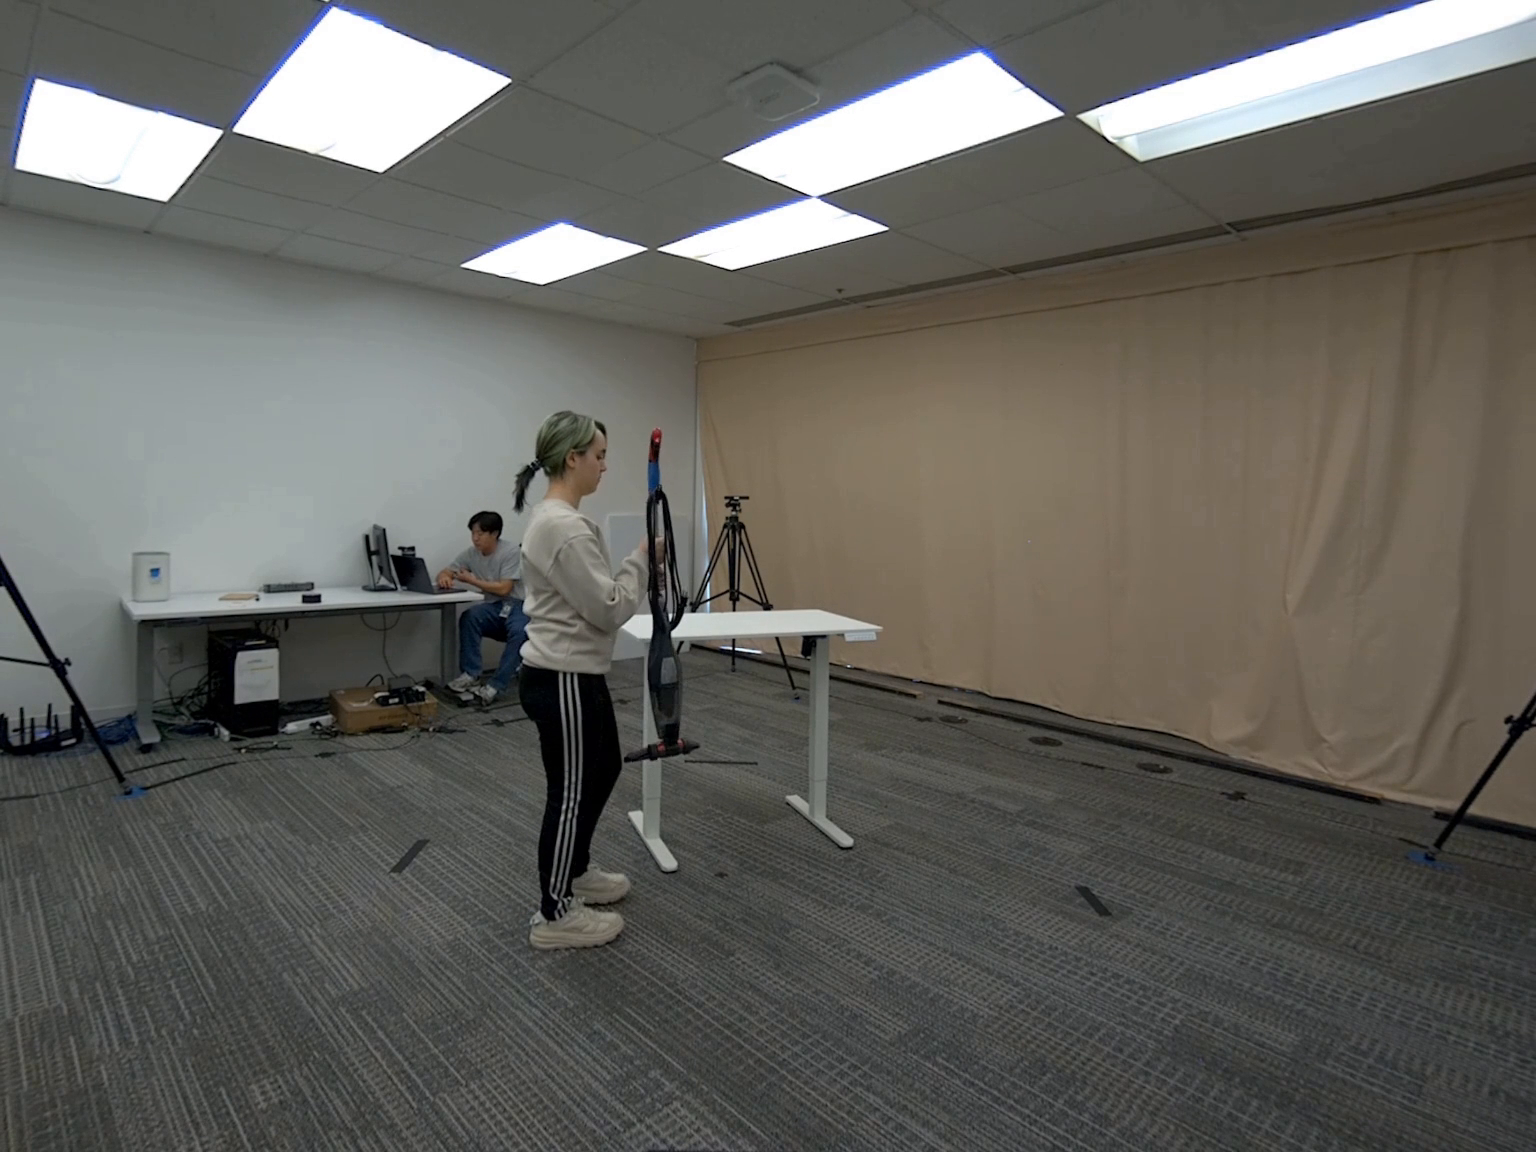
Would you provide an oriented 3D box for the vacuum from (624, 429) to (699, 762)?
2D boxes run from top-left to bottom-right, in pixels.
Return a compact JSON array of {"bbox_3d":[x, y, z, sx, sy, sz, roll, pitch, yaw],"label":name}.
[{"bbox_3d":[-0.337,0.082,2.613,0.248,1.038,0.148,-5,16,-25],"label":"vacuum"}]
